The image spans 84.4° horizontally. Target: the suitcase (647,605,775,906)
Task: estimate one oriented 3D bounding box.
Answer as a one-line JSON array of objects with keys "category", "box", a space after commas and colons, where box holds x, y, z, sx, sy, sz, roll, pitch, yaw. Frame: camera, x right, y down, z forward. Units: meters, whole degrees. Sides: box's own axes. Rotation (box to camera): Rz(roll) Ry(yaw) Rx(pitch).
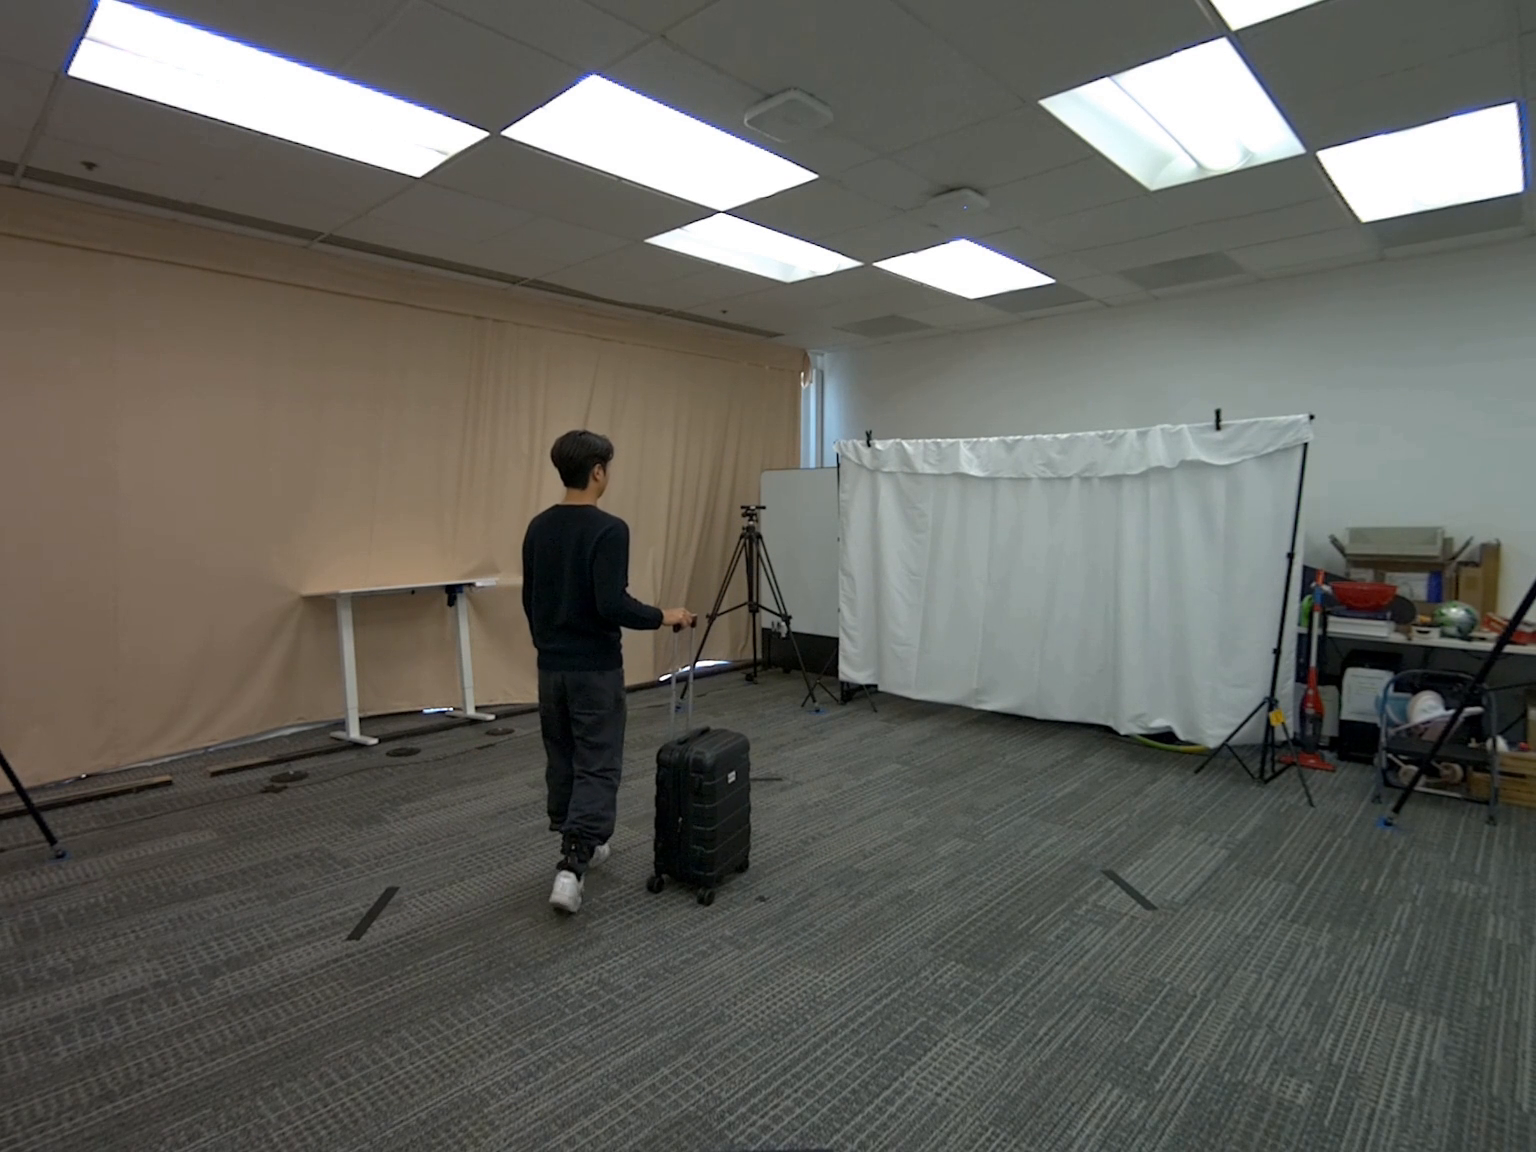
[{"category": "suitcase", "box": [-0.230, 0.658, 3.110, 0.264, 0.976, 0.375, 5, 4, 24]}]
